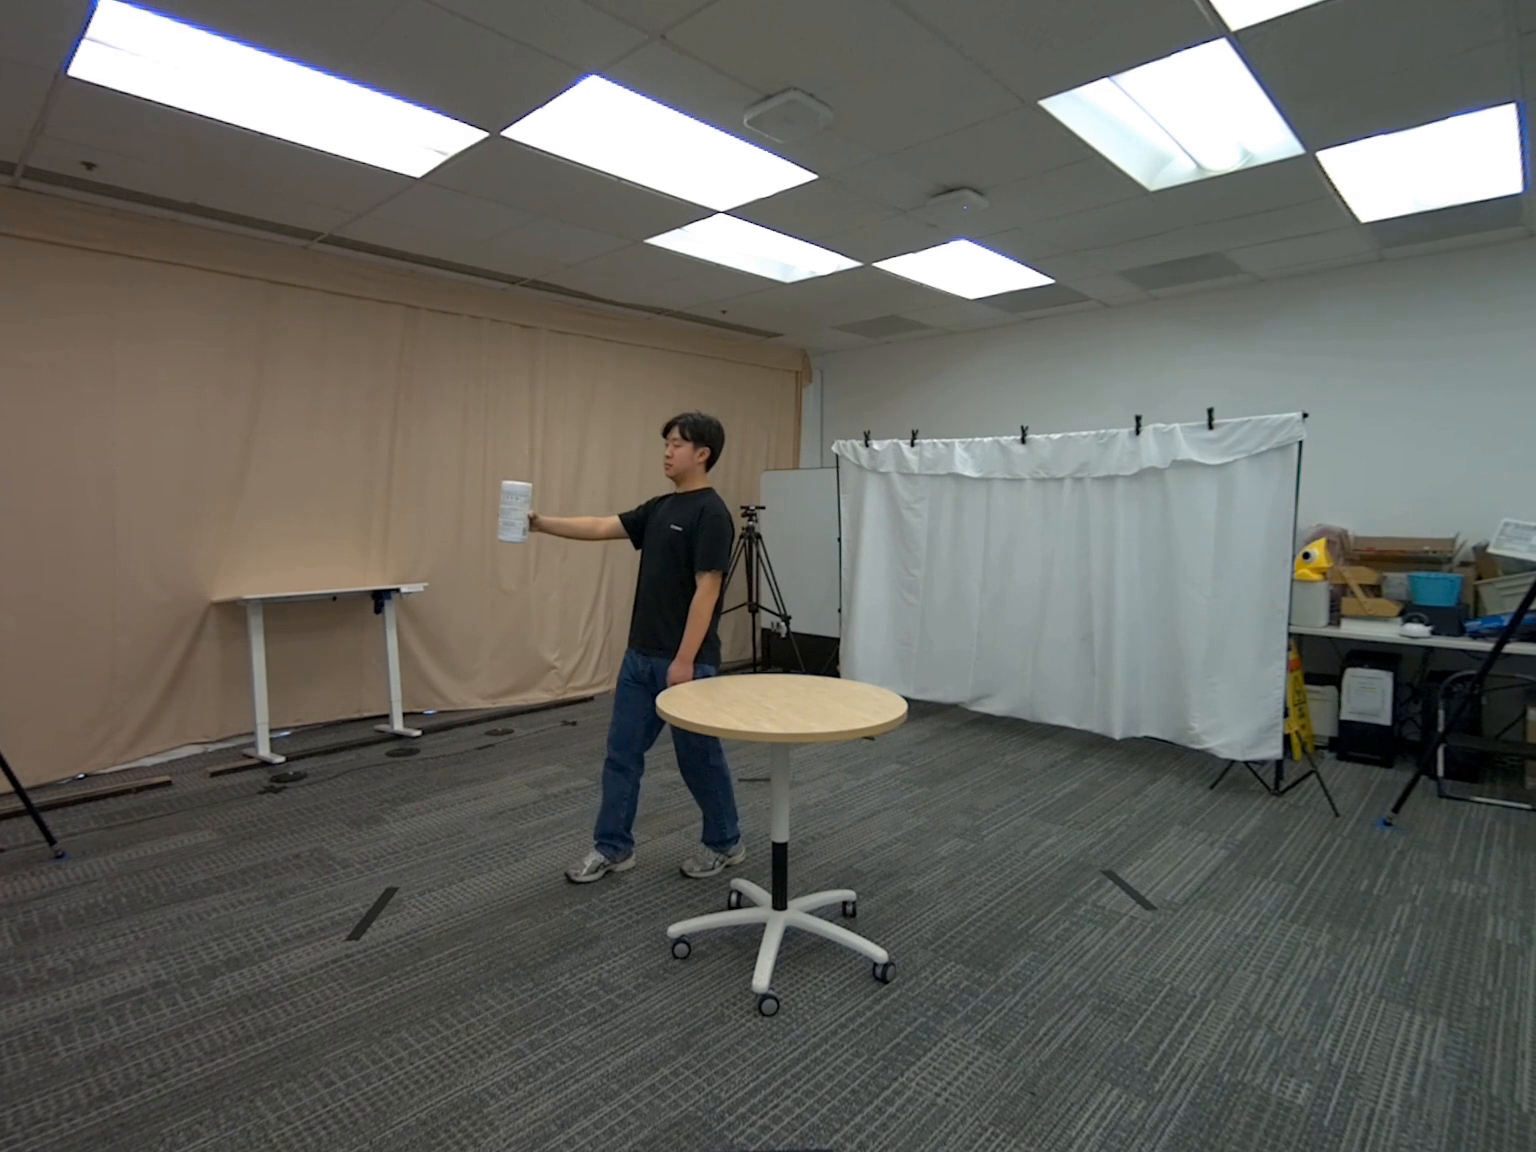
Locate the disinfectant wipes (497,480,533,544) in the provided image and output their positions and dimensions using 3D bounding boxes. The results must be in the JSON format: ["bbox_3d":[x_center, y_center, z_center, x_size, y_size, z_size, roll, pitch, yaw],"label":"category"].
[{"bbox_3d":[-0.916,-0.233,3.026,0.117,0.217,0.118,5,5,-2],"label":"disinfectant wipes"}]
